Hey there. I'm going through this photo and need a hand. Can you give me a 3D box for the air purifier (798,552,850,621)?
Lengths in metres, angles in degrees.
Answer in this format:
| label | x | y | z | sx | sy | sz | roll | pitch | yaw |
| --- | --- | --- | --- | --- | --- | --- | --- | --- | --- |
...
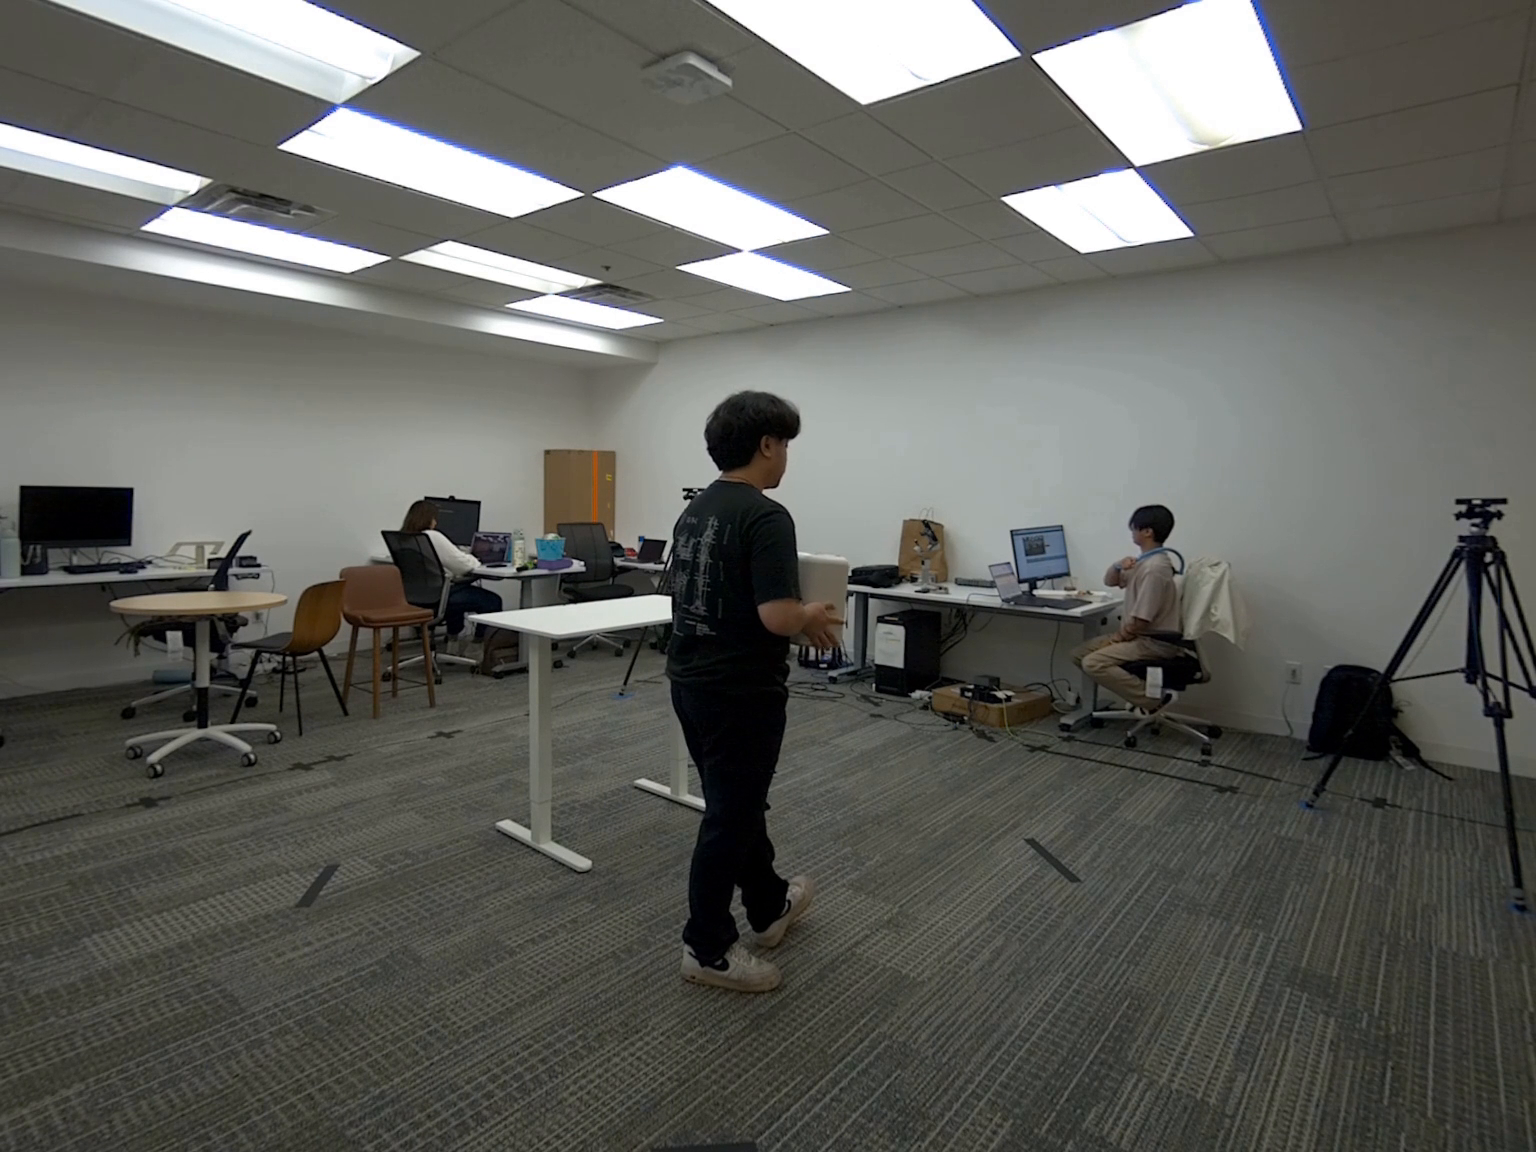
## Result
| label | x | y | z | sx | sy | sz | roll | pitch | yaw |
| --- | --- | --- | --- | --- | --- | --- | --- | --- | --- |
| air purifier | 0.122 | 0.060 | 2.522 | 0.166 | 0.265 | 0.177 | 5 | 0 | -31 |
